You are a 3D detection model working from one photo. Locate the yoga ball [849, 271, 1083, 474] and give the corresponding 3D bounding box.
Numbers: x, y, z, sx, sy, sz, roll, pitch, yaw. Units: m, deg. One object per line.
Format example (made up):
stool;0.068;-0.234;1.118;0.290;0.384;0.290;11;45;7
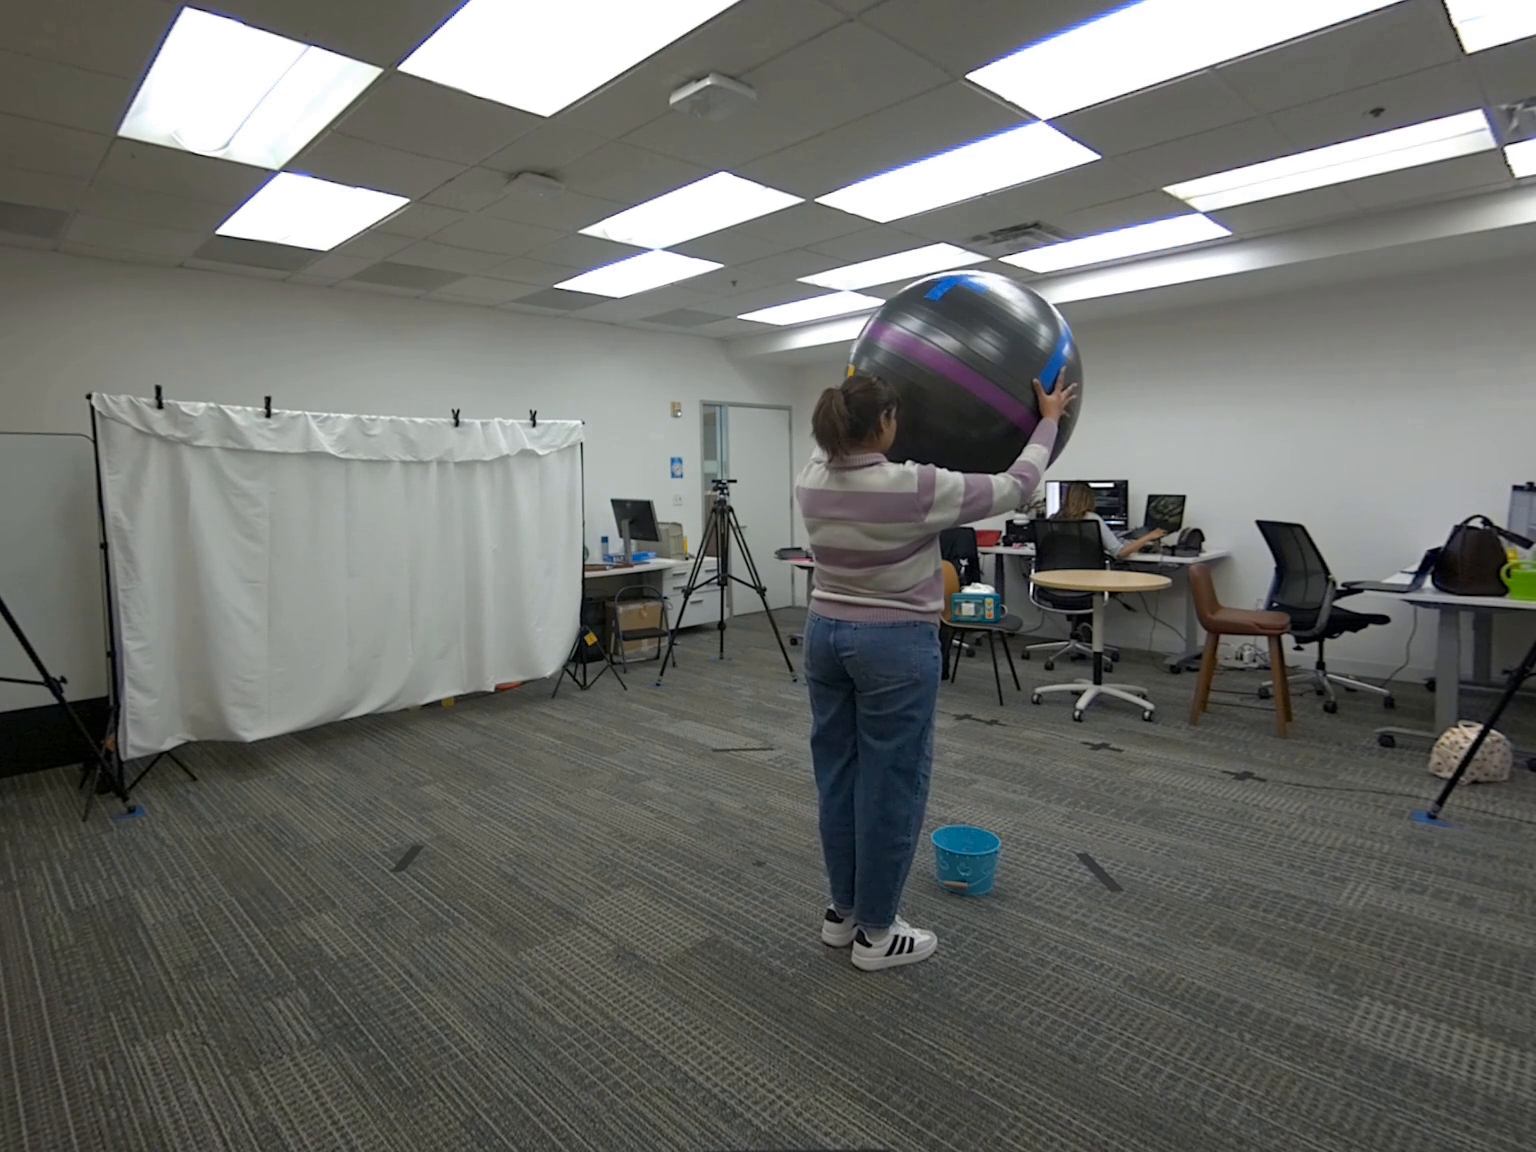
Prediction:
yoga ball;0.644;-0.604;2.813;0.757;0.755;0.762;-1;5;-2
